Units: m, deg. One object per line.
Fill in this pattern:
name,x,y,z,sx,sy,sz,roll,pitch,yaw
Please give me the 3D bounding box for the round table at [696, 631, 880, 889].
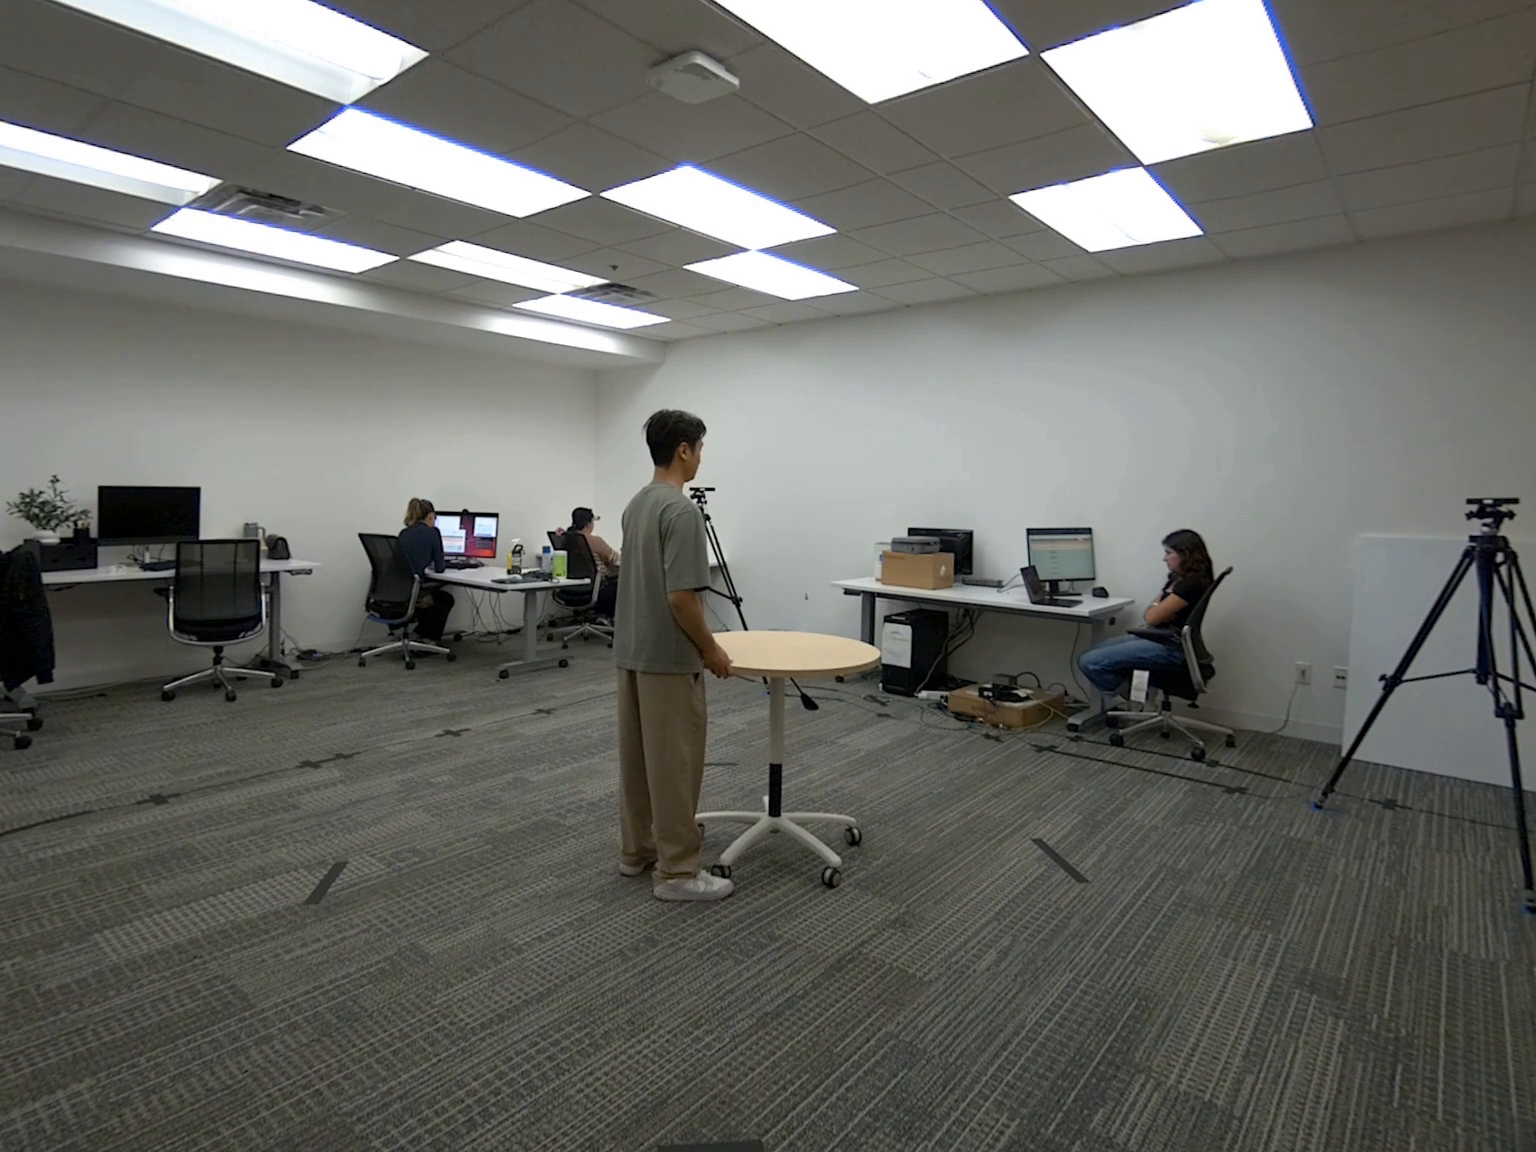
round table,0.029,0.661,3.267,0.784,0.784,0.789,1,5,-2
